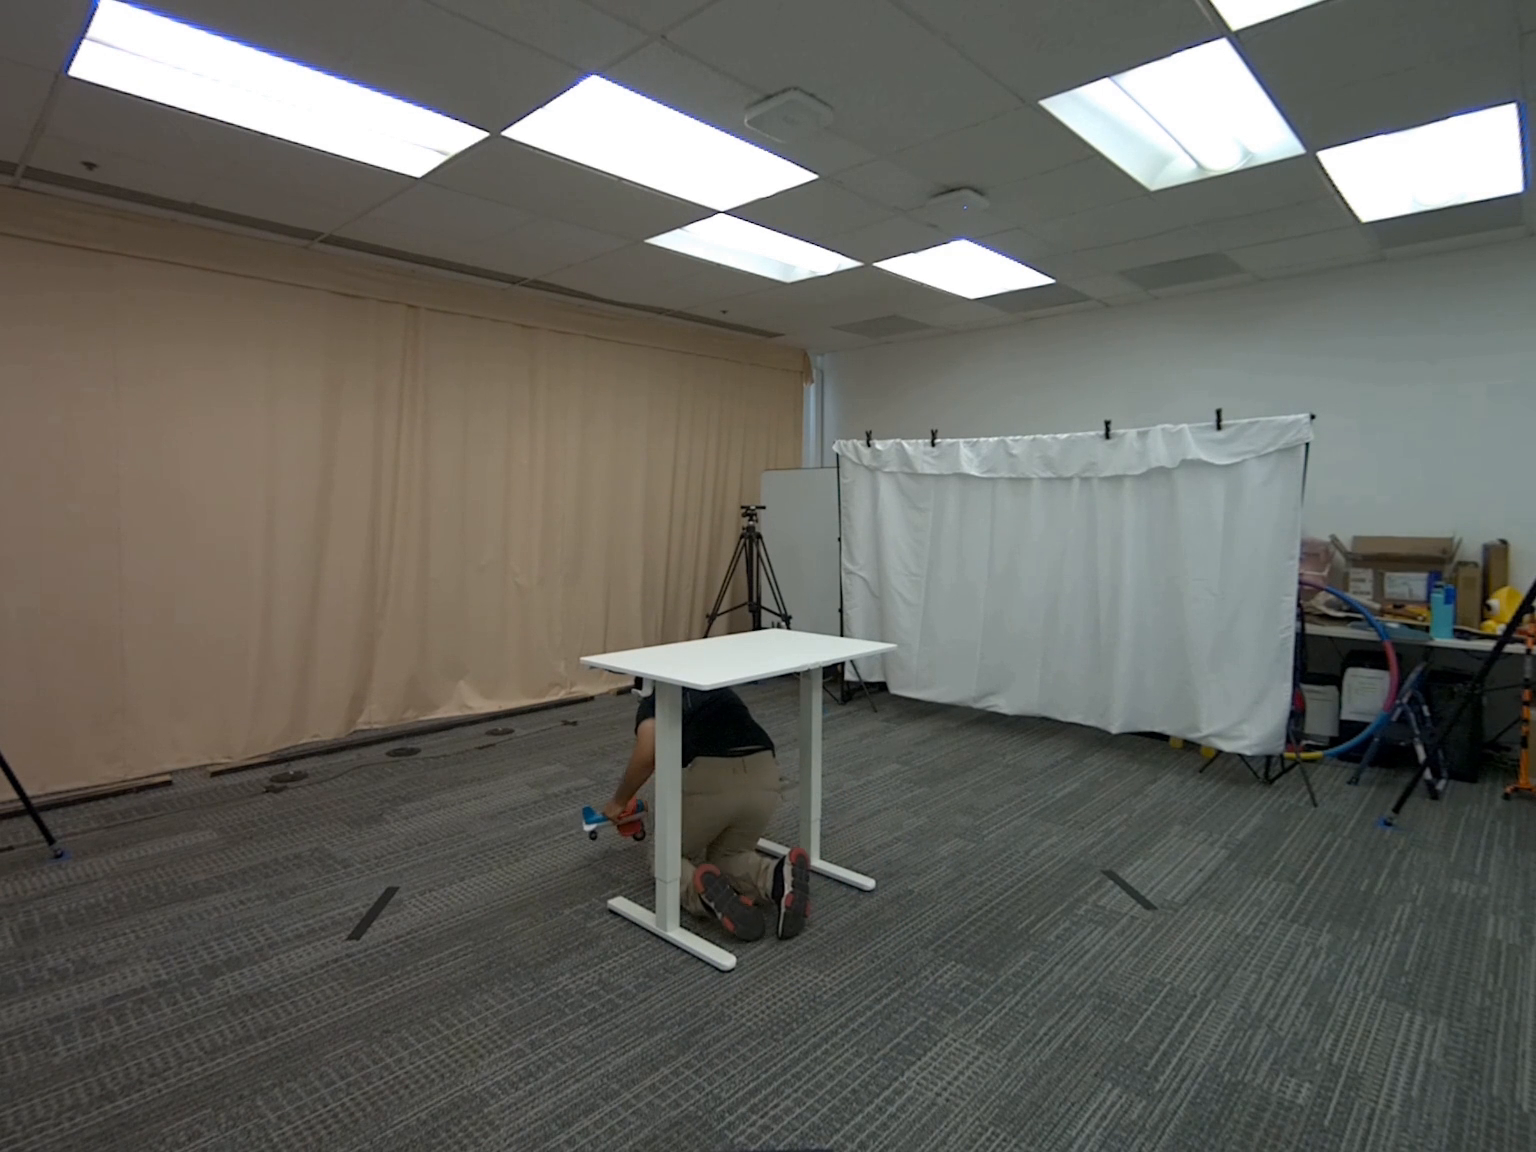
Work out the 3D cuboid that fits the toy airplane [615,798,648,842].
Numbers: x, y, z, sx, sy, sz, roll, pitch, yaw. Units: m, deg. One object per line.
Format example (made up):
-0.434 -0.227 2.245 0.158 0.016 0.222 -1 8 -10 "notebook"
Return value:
-0.586 0.948 3.299 0.259 0.156 0.251 5 5 44 "toy airplane"
